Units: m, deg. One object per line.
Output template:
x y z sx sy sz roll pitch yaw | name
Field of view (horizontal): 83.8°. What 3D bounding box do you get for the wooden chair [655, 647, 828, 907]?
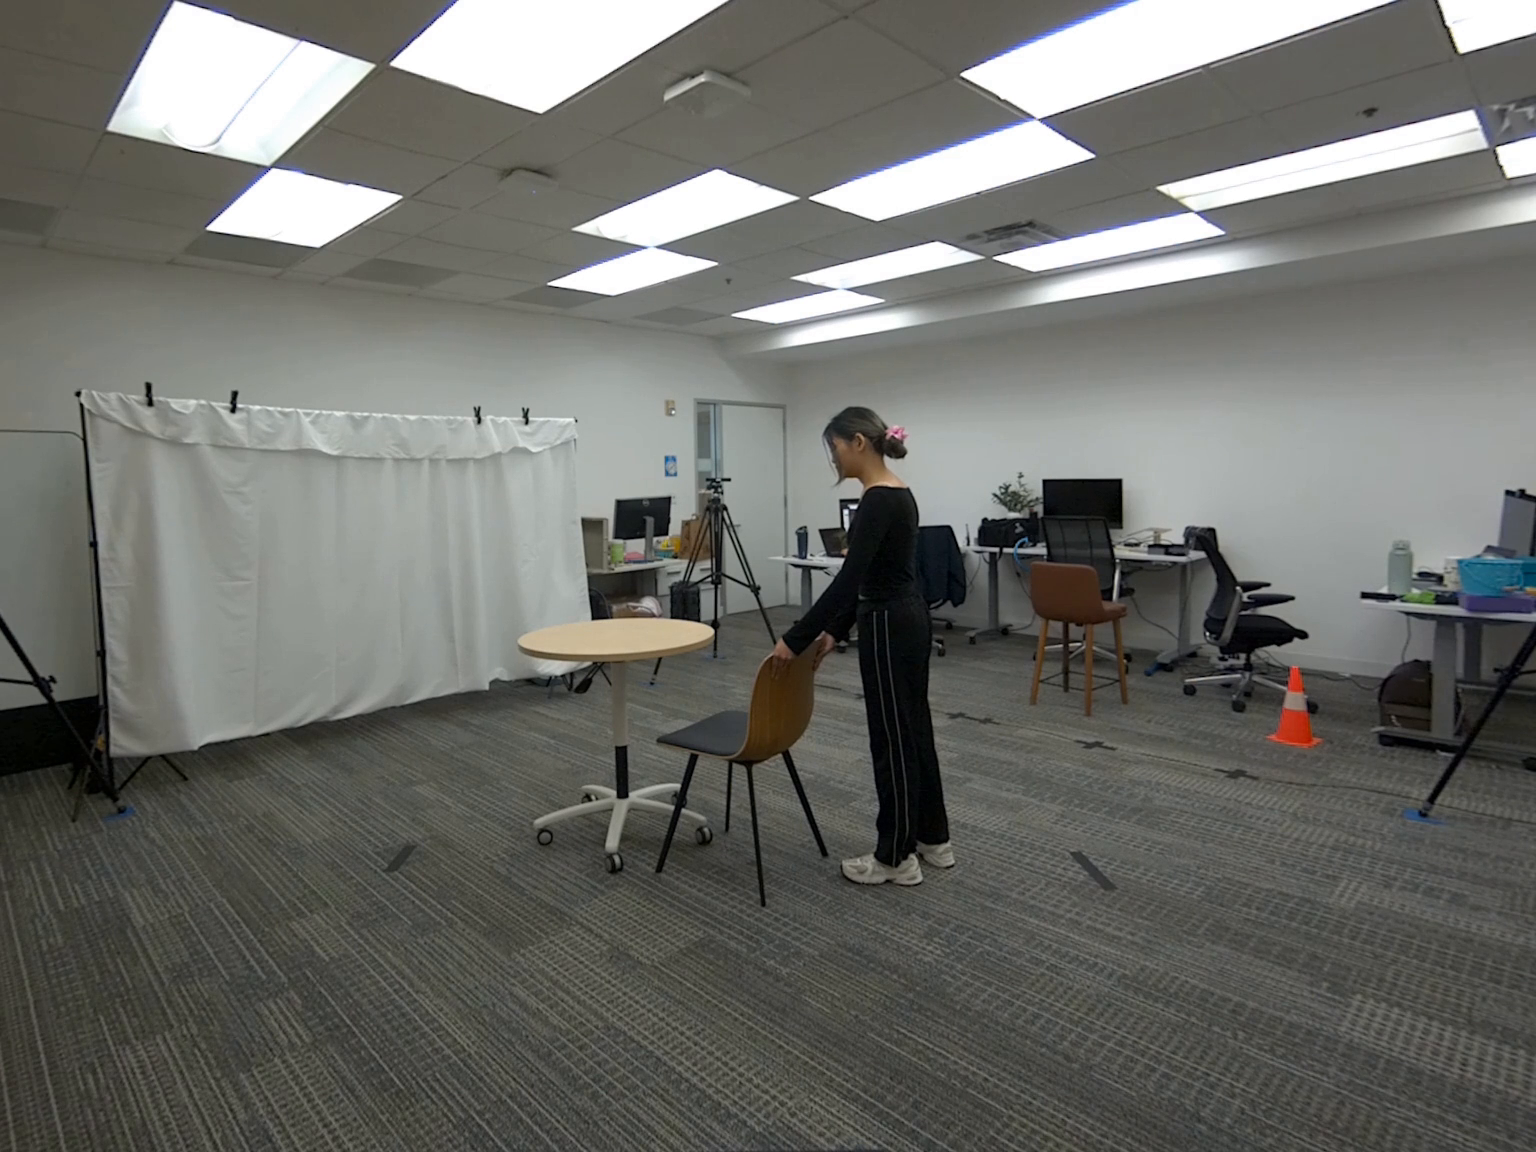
-0.097 0.619 3.061 0.539 0.872 0.467 7 8 33 | wooden chair
